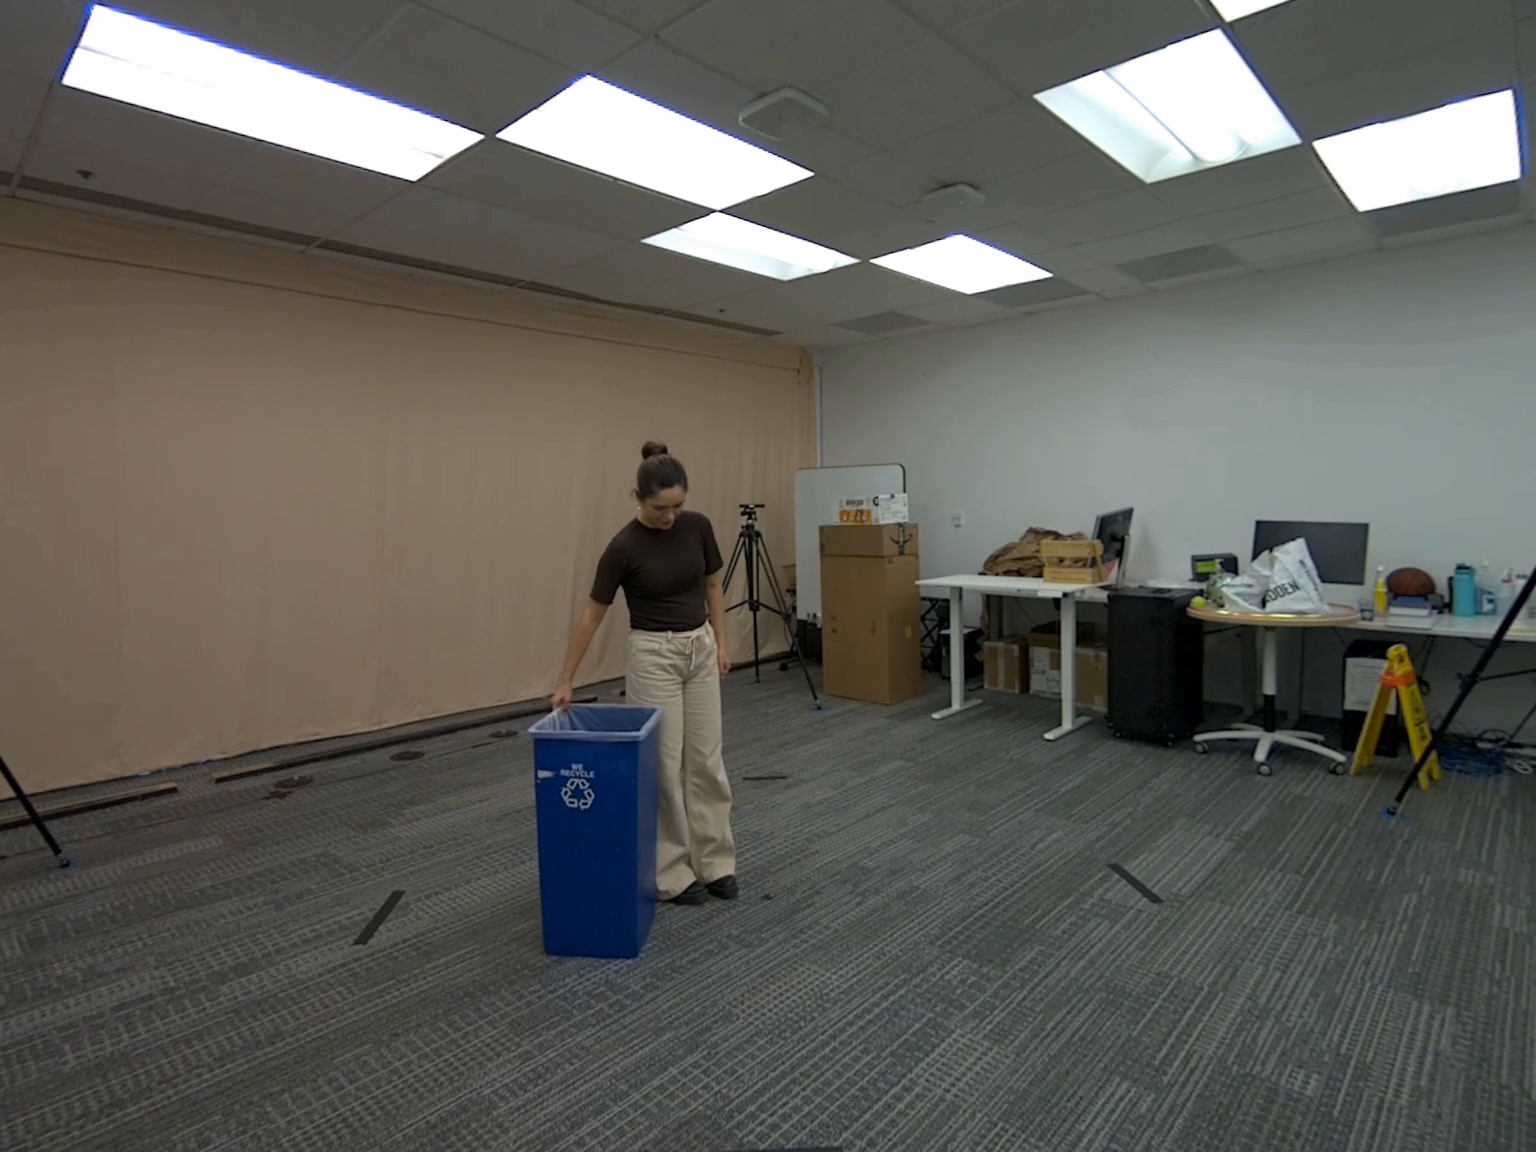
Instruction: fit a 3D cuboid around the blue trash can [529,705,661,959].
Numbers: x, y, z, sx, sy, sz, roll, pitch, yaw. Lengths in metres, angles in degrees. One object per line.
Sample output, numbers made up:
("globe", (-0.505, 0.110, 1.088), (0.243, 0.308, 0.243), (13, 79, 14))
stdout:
("blue trash can", (-0.541, 0.815, 2.733), (0.380, 0.713, 0.372), (0, 2, 5))
